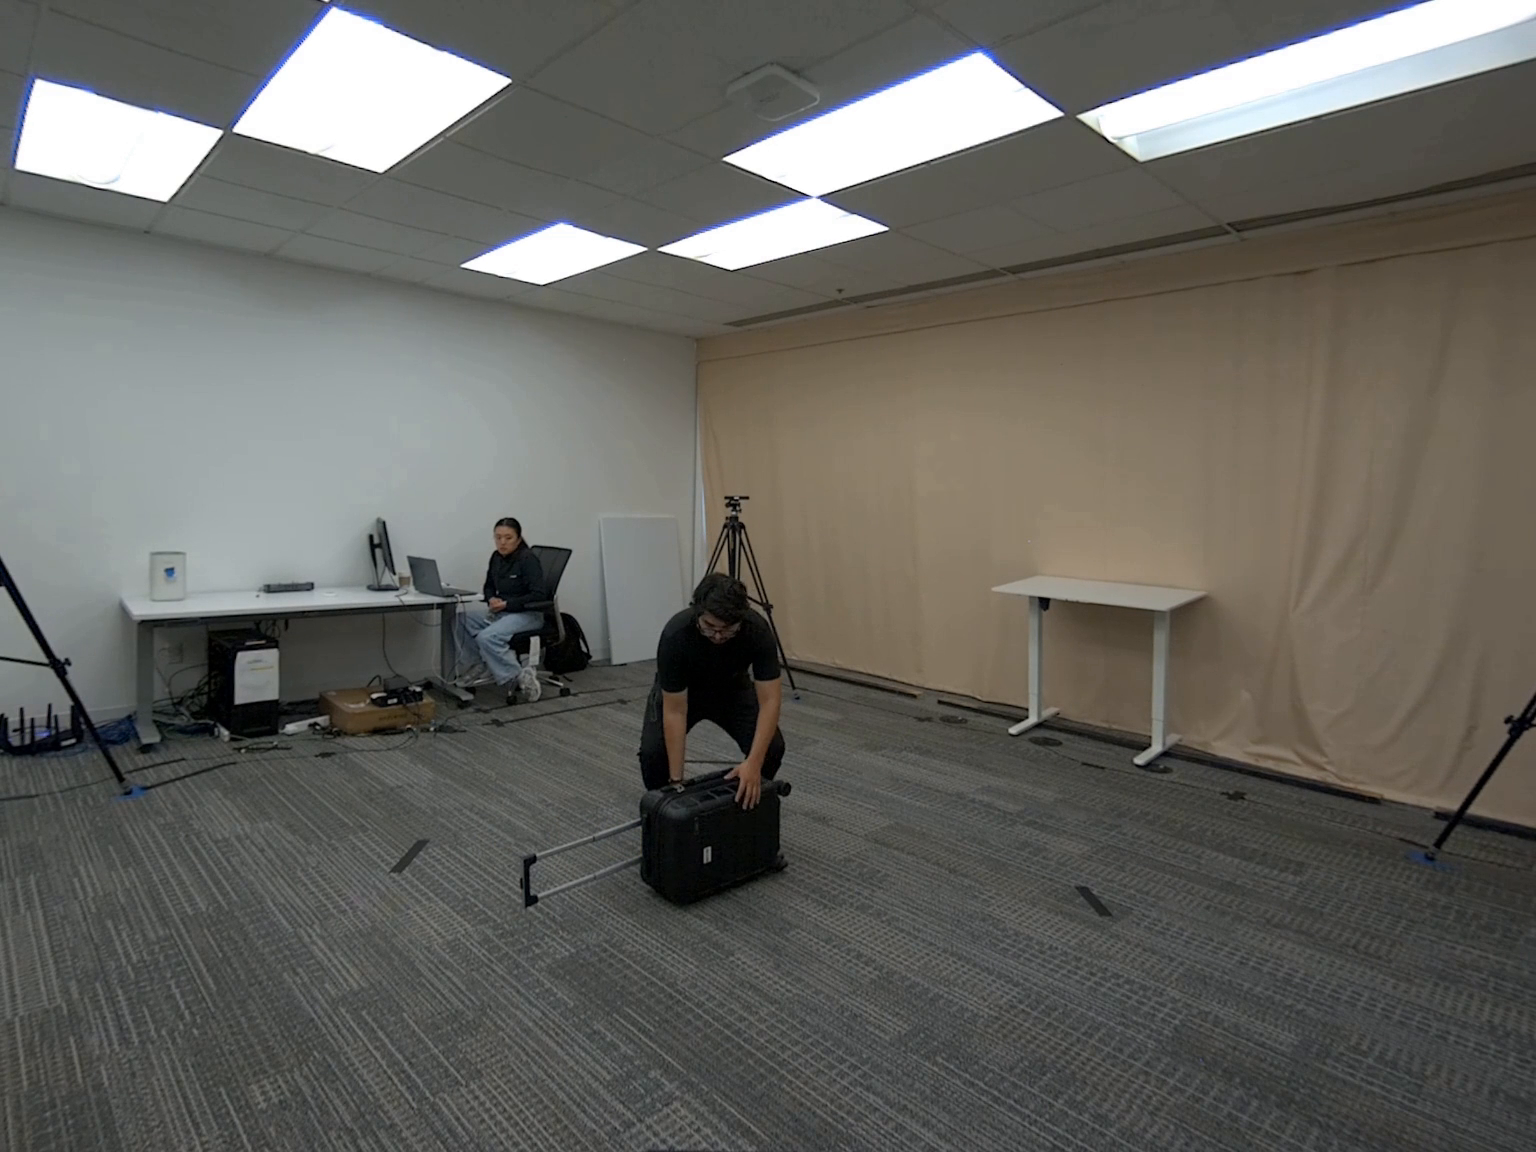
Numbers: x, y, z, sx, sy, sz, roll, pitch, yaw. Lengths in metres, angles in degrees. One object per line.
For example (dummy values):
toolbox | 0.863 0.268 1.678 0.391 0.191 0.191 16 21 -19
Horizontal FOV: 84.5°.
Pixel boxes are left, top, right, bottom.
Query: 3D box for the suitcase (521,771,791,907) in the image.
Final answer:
suitcase | -0.349 0.934 2.888 0.956 0.383 0.263 -4 6 -44
